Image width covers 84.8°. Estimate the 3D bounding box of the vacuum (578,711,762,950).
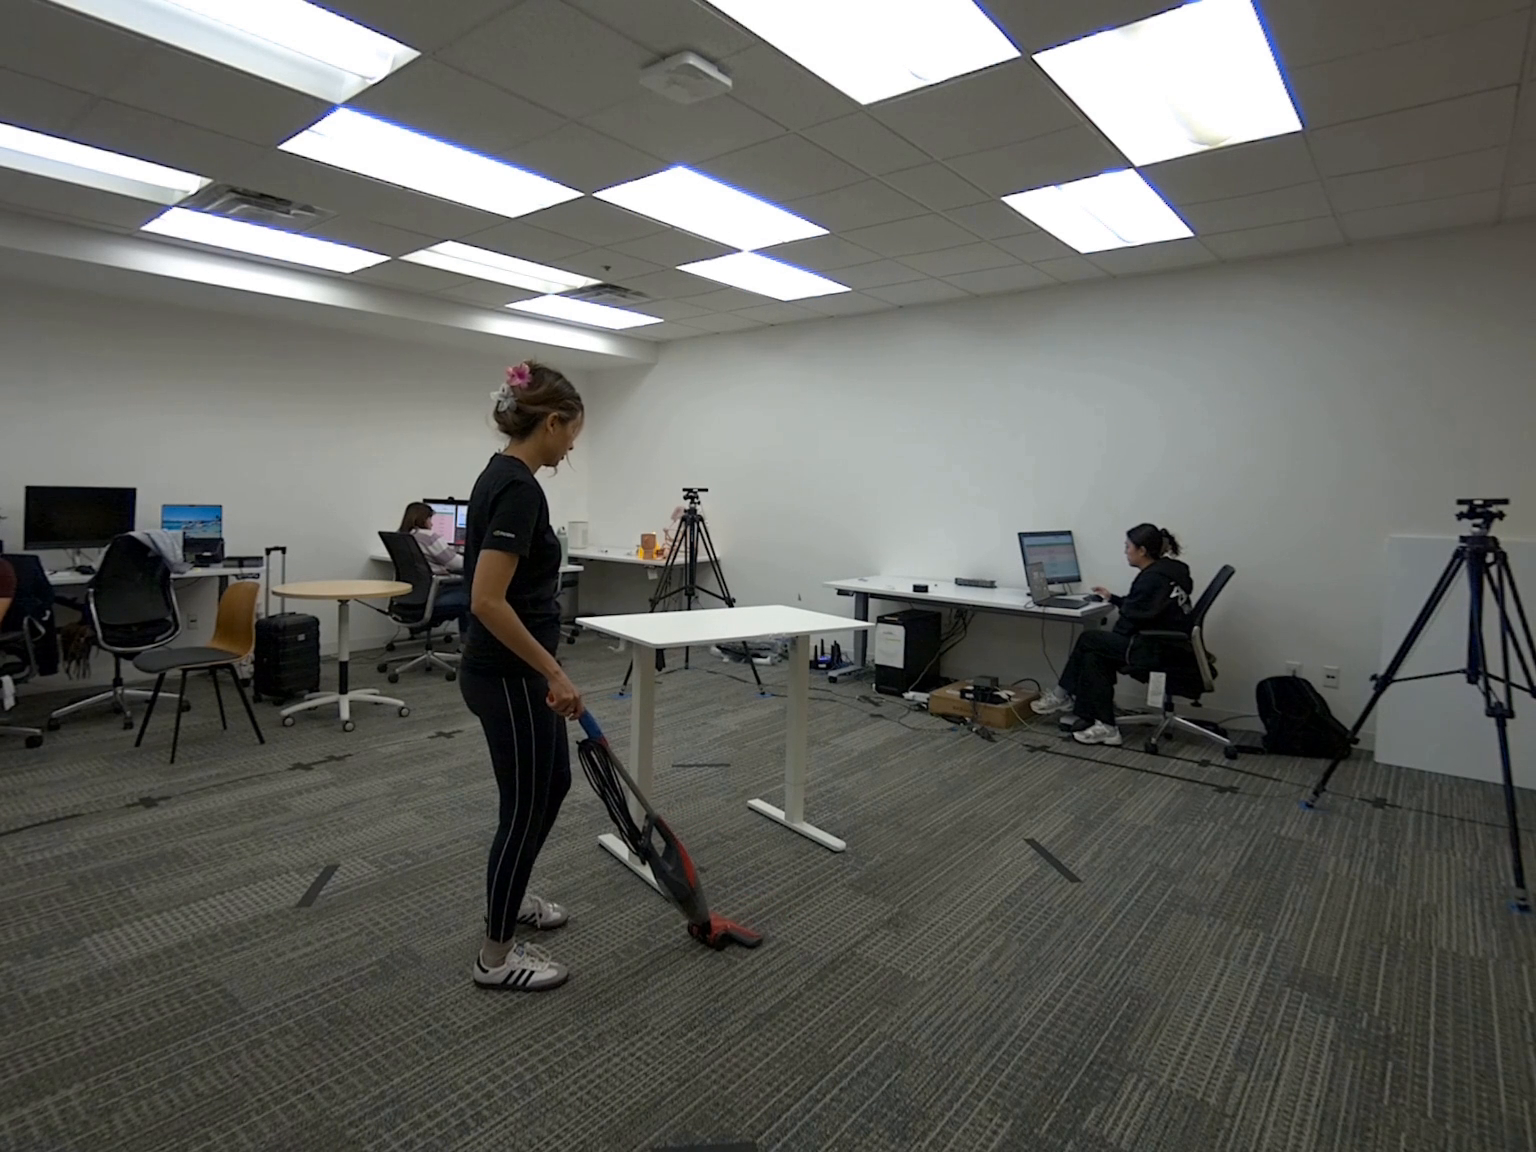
[{"bbox_3d":[-0.343,0.719,2.406,0.260,1.014,0.144,1,39,39],"label":"vacuum"}]
